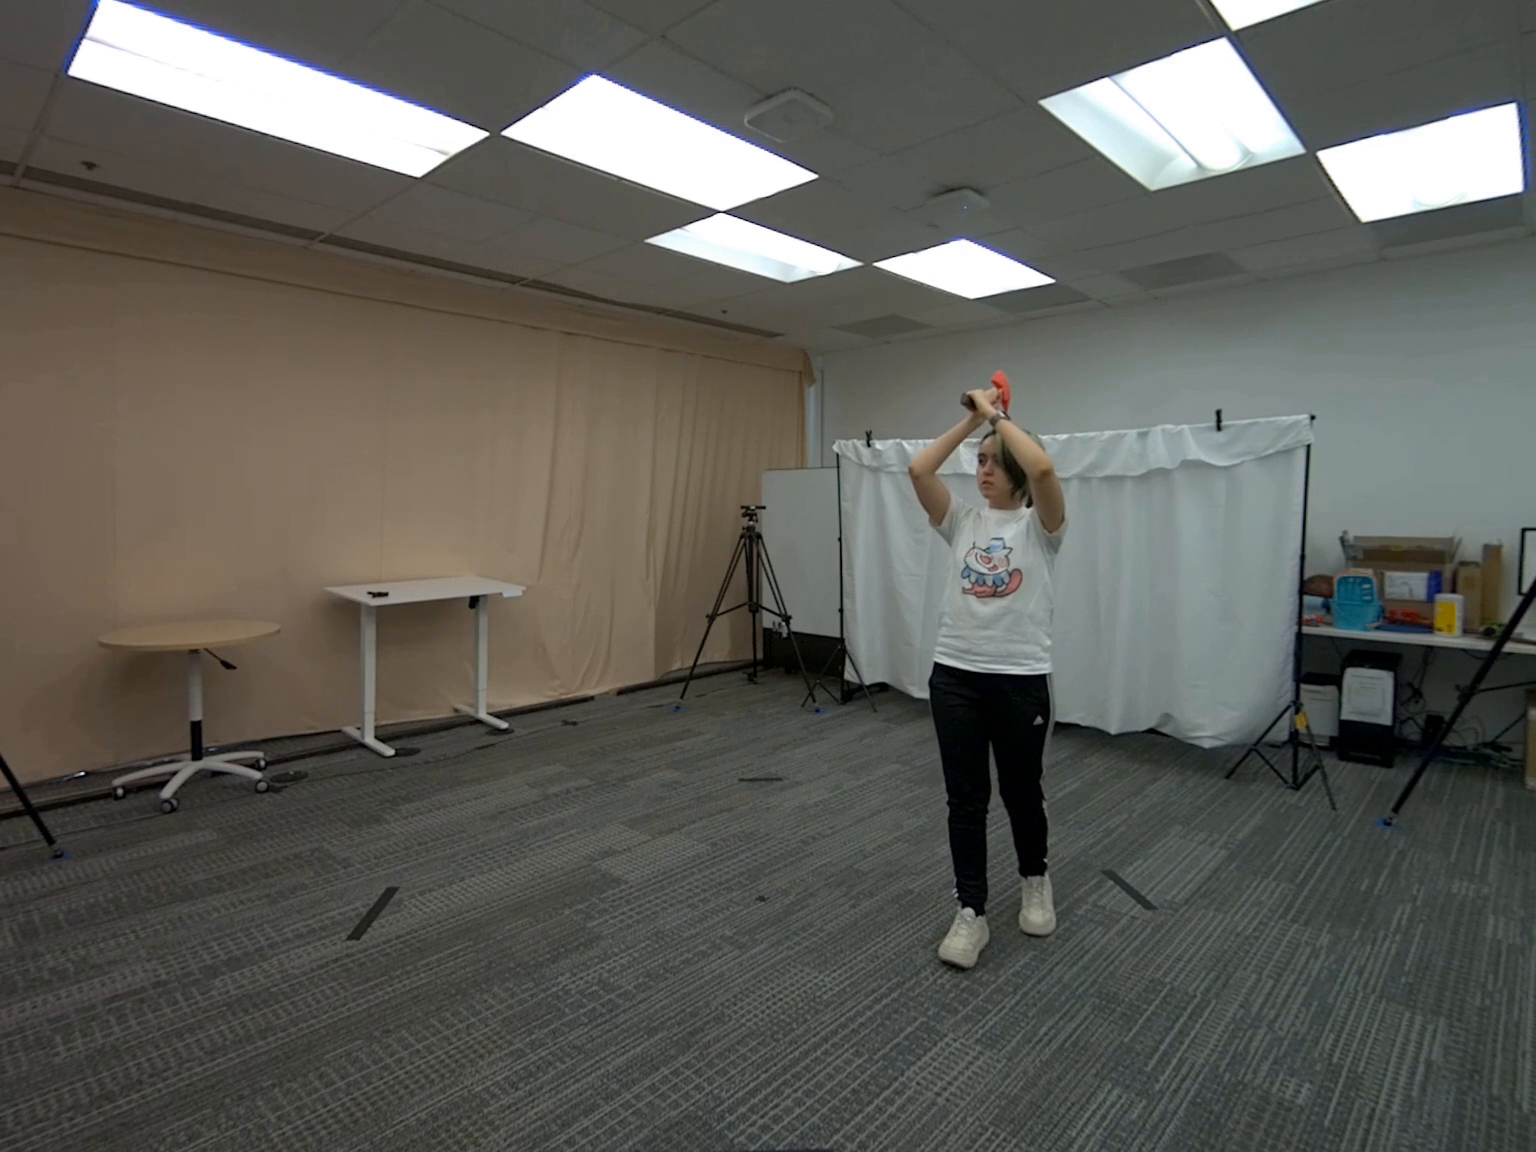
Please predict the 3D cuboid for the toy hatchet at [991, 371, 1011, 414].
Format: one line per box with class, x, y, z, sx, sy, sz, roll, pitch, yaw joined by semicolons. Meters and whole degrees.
toy hatchet;0.681;-0.577;2.591;0.030;0.131;0.262;5;5;44
